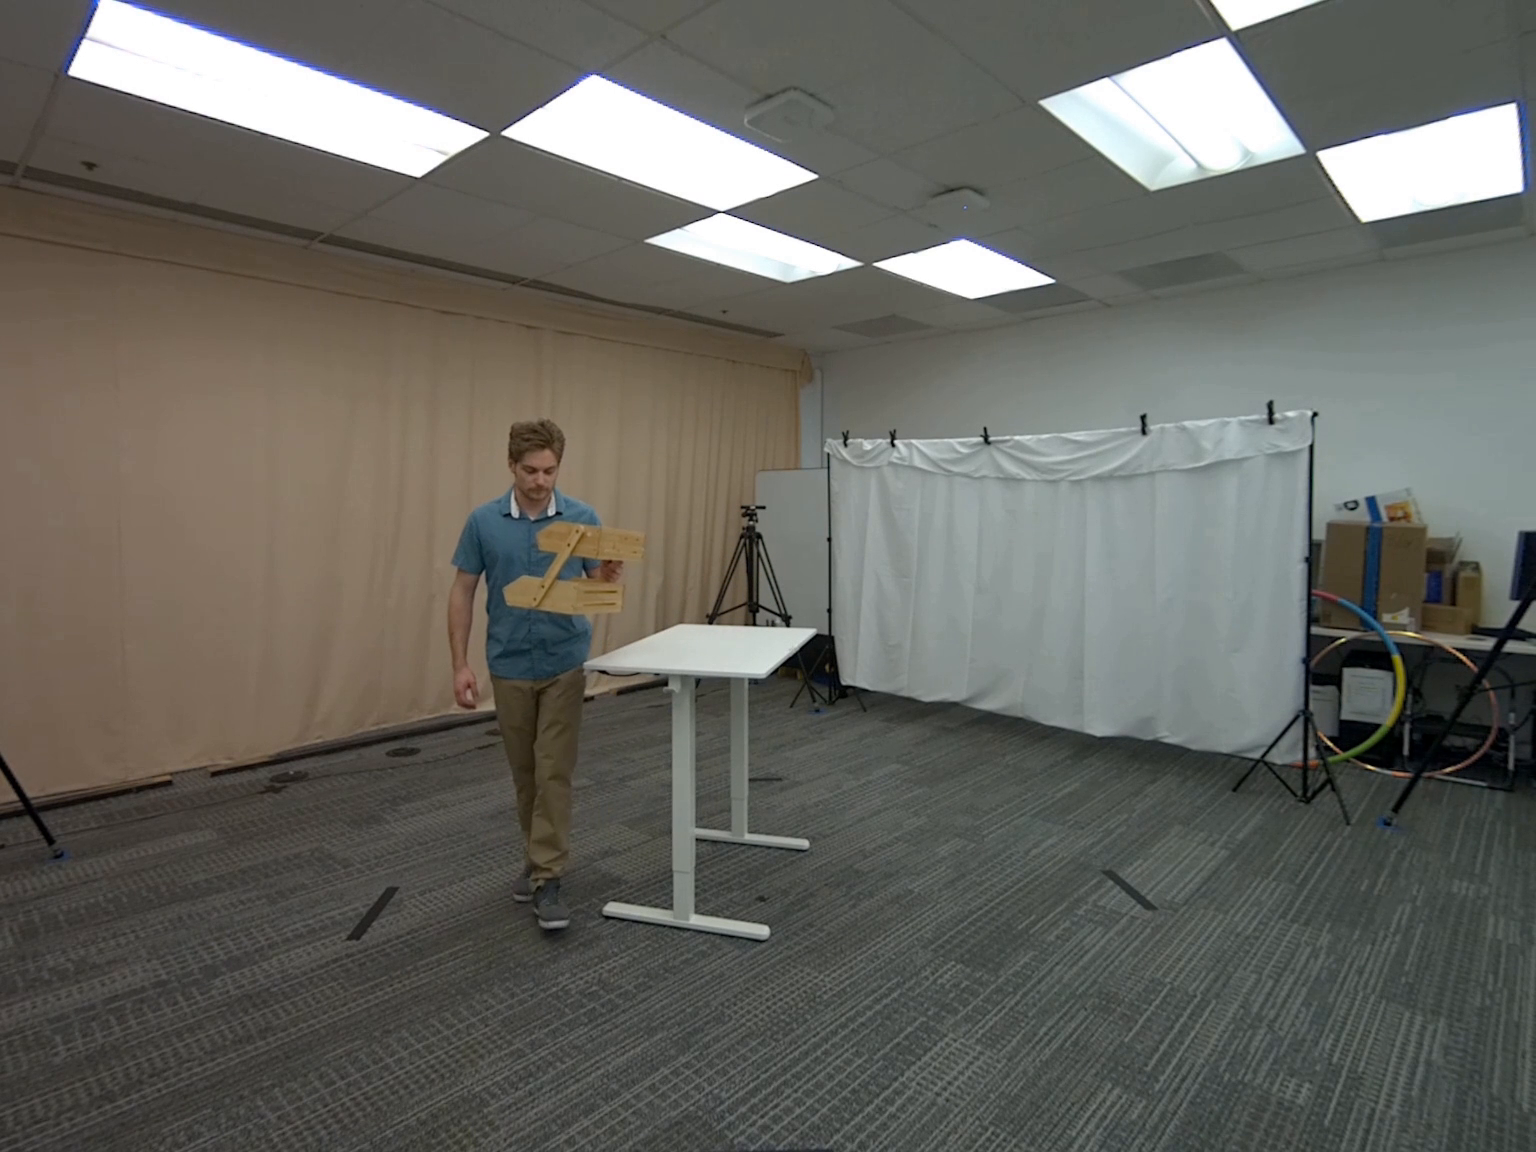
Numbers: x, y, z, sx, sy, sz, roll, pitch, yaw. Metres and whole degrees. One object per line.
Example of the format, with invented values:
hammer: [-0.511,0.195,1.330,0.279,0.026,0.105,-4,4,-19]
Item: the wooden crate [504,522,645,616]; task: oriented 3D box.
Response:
wooden crate: [-0.589,-0.029,2.572,0.309,0.273,0.317,8,0,20]
